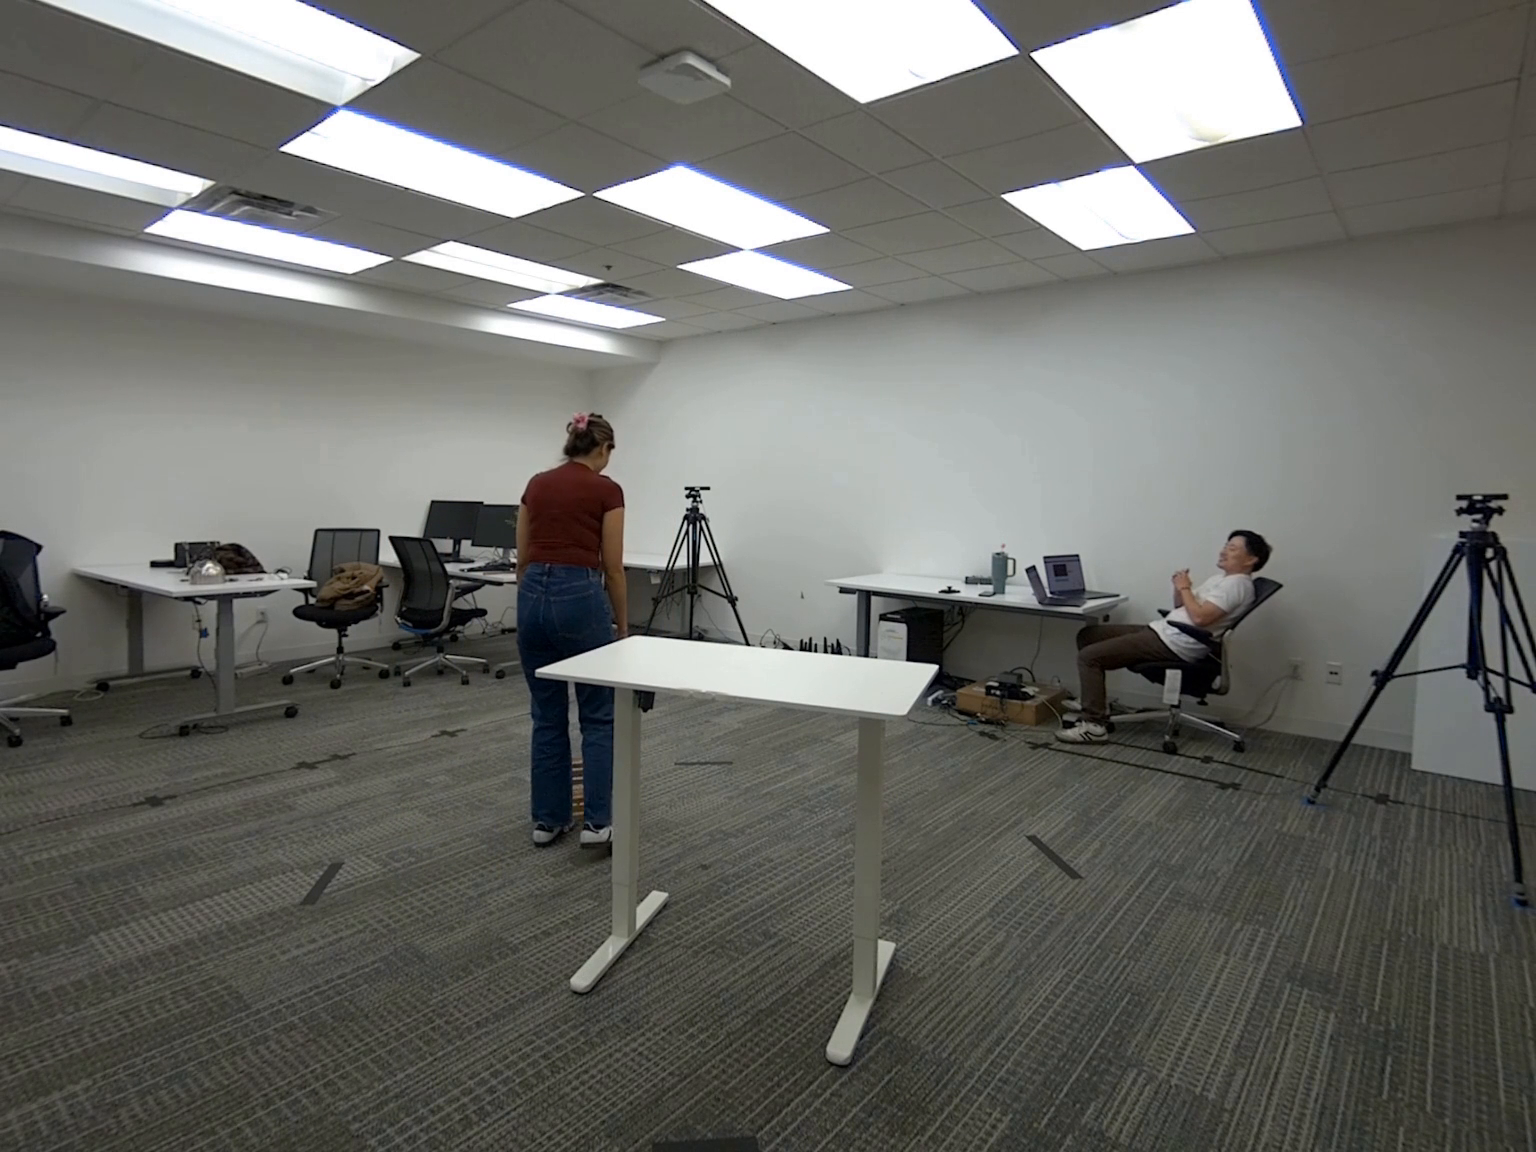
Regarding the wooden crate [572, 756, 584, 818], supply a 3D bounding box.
[{"bbox_3d":[-0.793,0.865,3.641,0.317,0.272,0.310,-1,5,-22],"label":"wooden crate"}]
